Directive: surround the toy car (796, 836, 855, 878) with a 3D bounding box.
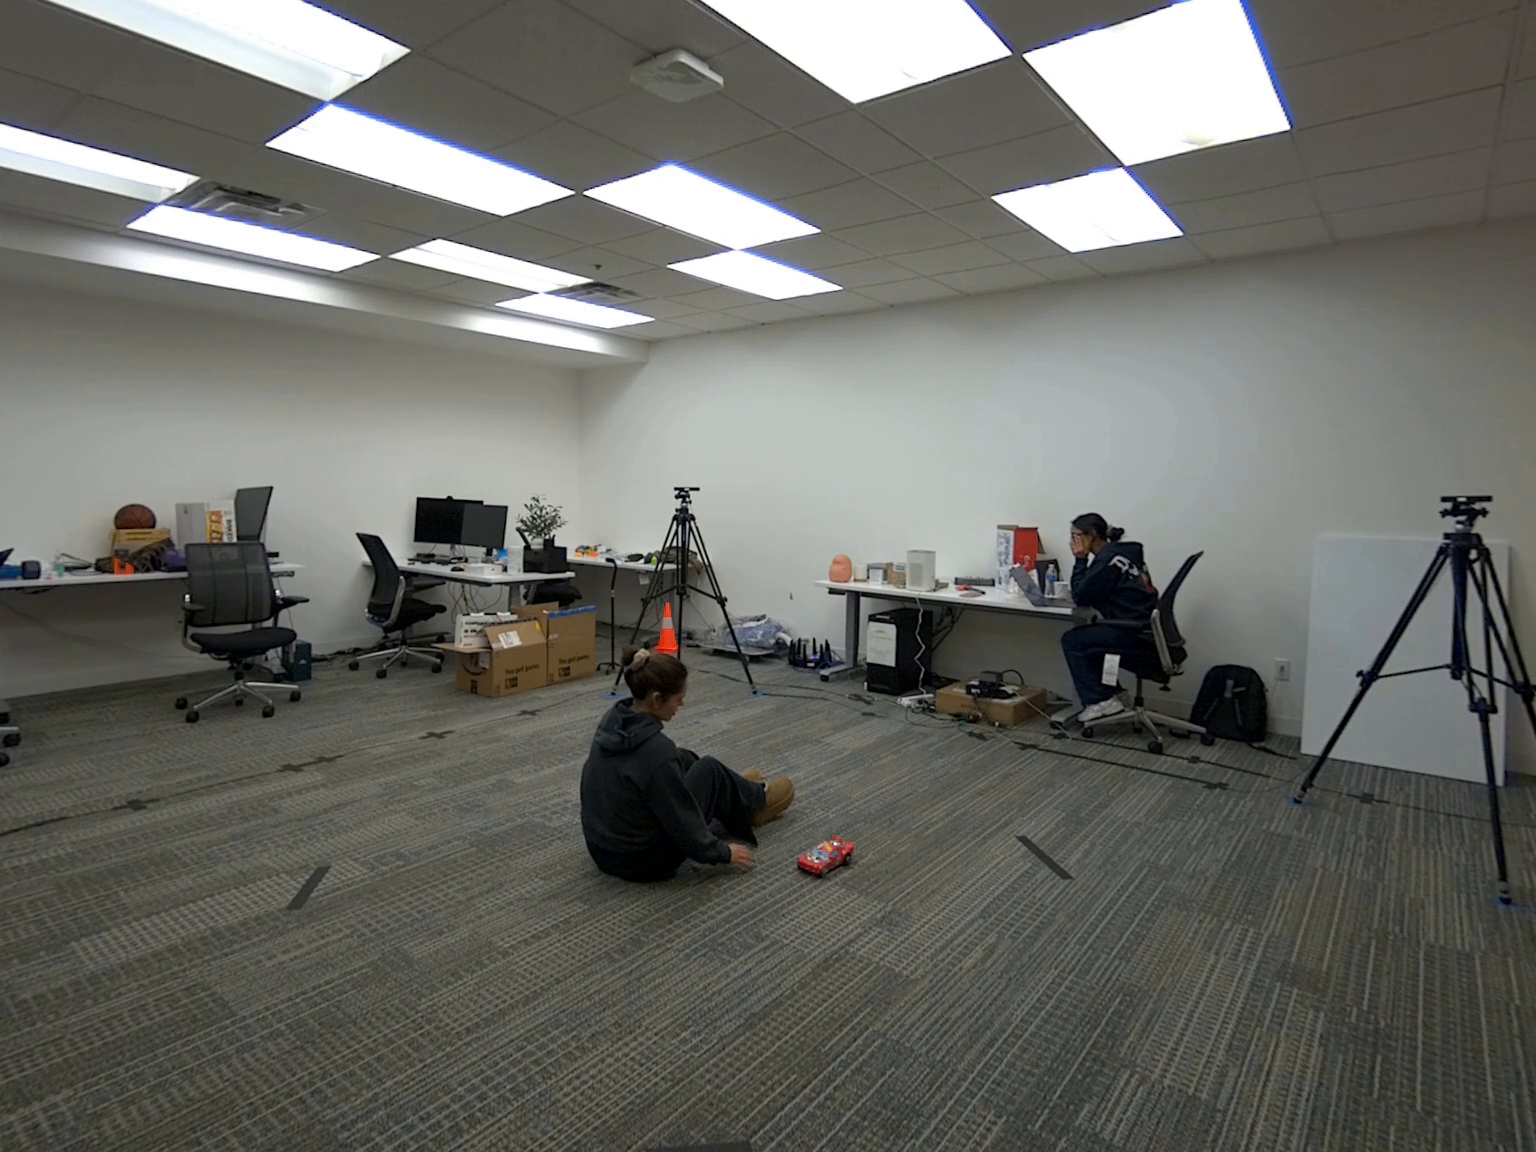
[{"bbox_3d":[0.229,1.040,3.159,0.135,0.082,0.249,6,19,41],"label":"toy car"}]
